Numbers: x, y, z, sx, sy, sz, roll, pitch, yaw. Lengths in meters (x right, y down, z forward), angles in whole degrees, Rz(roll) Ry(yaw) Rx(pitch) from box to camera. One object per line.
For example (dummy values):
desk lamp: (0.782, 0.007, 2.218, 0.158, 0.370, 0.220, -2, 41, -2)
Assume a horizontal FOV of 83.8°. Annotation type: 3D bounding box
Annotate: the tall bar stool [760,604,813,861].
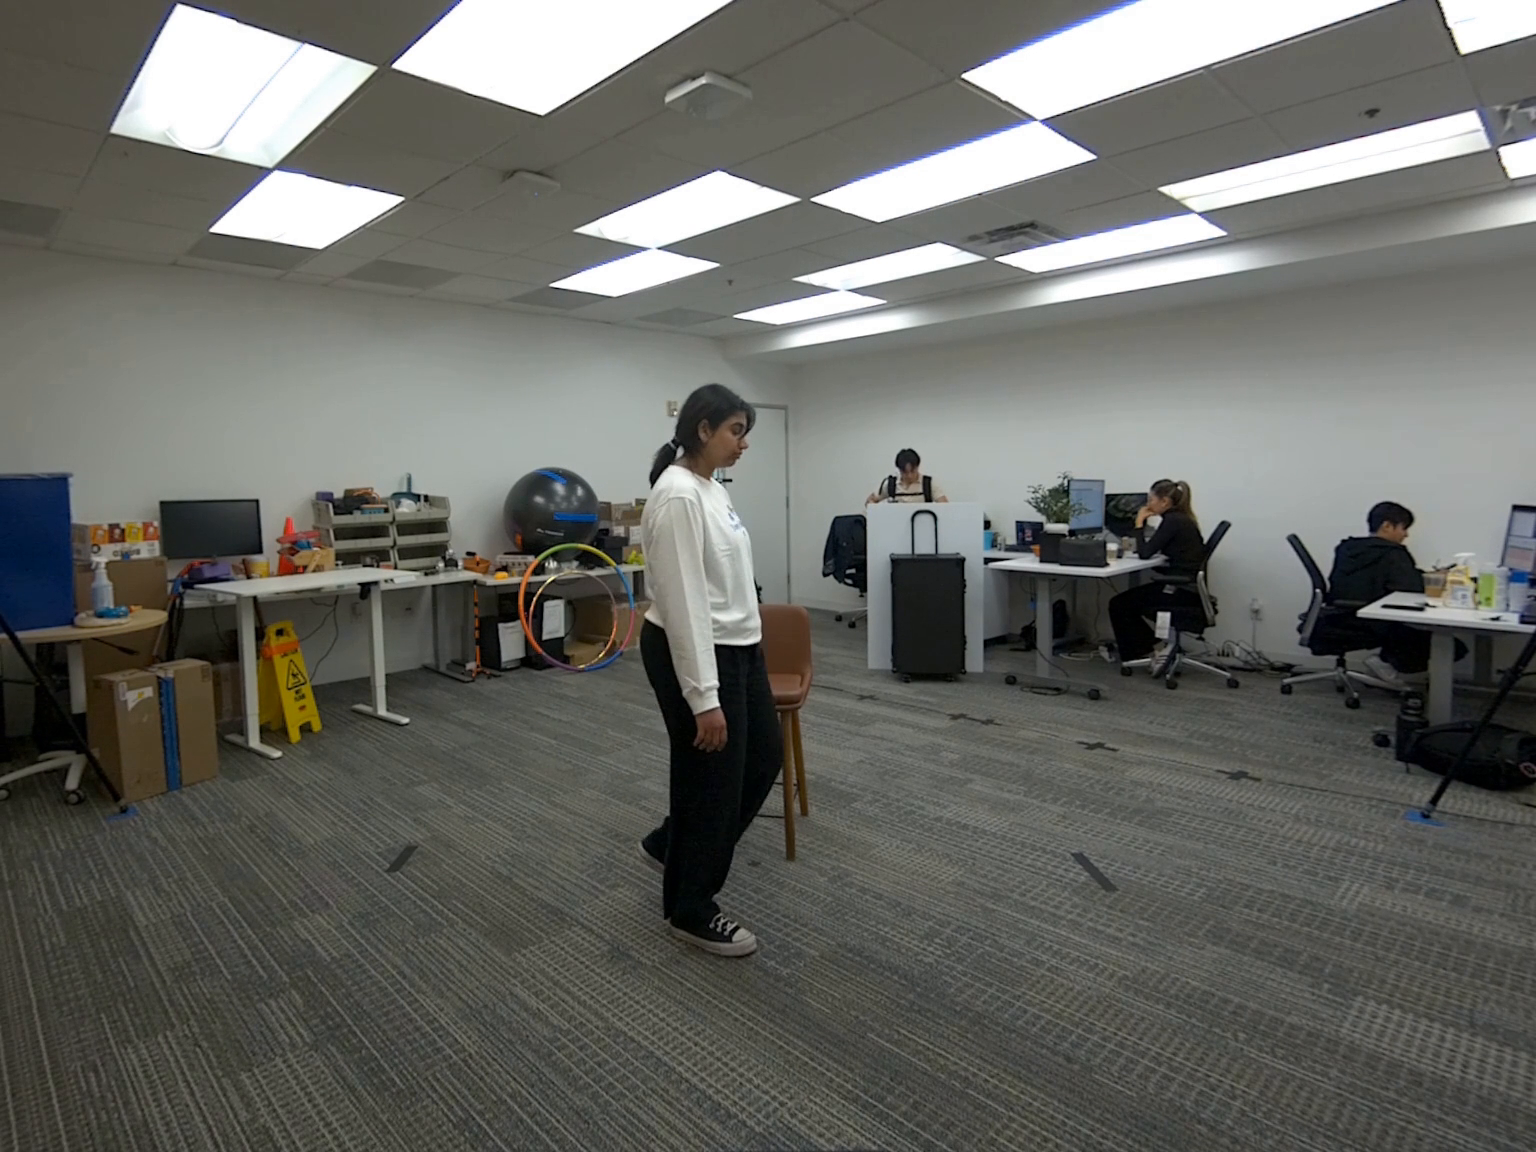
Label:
tall bar stool: (-0.060, 0.582, 3.367, 0.463, 0.888, 0.462, 0, 2, 14)
